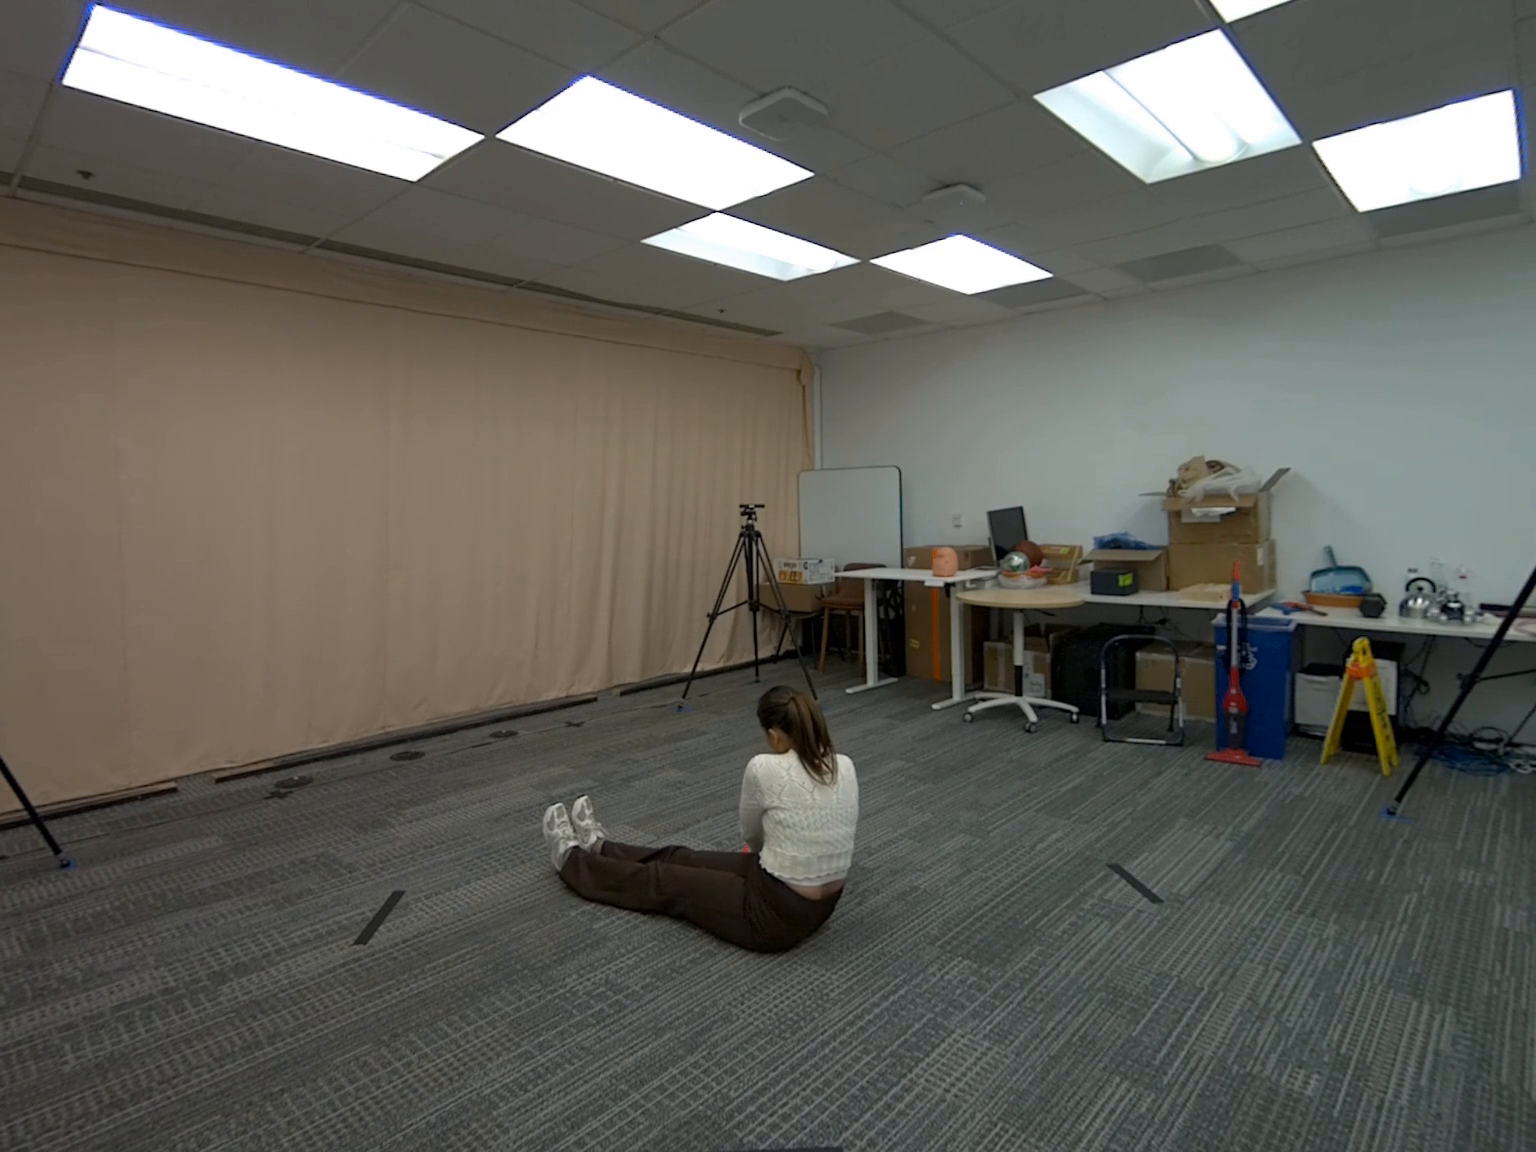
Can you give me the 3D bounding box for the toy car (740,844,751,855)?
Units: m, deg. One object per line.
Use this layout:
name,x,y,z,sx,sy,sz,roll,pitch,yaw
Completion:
toy car,0.033,1.077,3.265,0.258,0.083,0.129,-11,2,13
